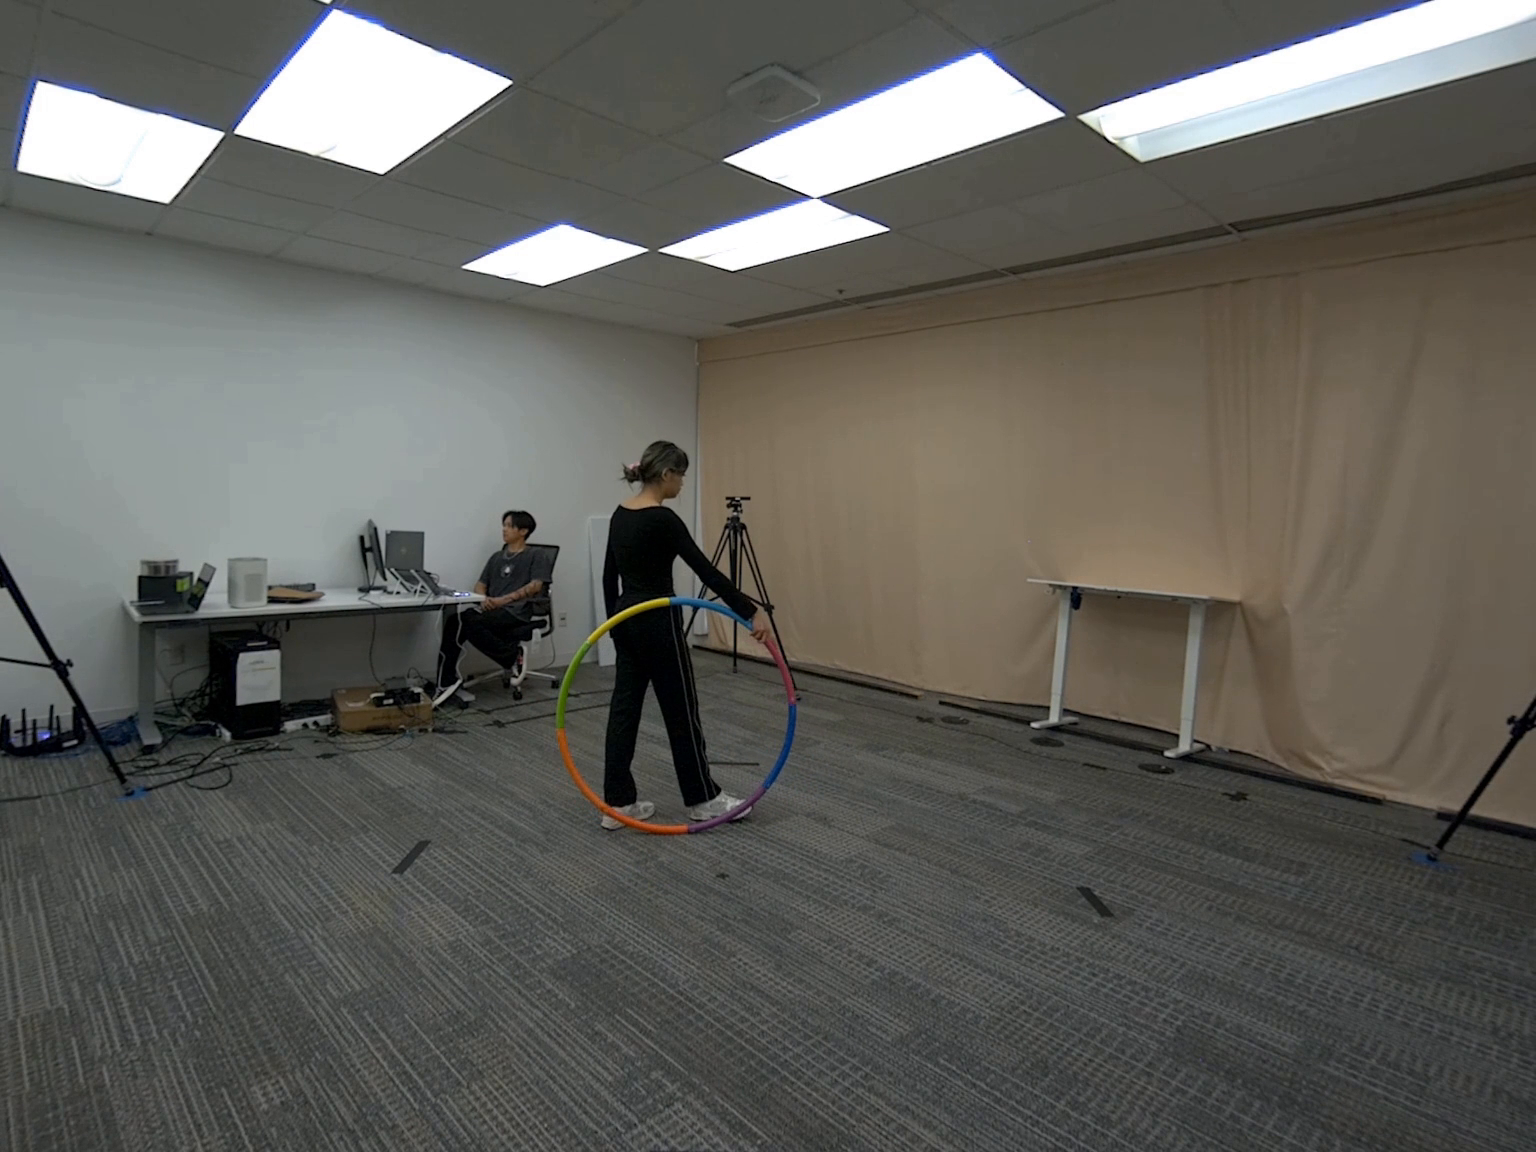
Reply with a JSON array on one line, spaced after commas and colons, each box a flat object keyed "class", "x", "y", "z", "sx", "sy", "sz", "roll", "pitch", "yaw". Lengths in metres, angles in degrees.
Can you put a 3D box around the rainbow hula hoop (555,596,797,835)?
[{"class": "rainbow hula hoop", "x": -0.379, "y": 0.582, "z": 3.474, "sx": 0.974, "sy": 0.977, "sz": 0.036, "roll": 1, "pitch": 2, "yaw": -6}]
